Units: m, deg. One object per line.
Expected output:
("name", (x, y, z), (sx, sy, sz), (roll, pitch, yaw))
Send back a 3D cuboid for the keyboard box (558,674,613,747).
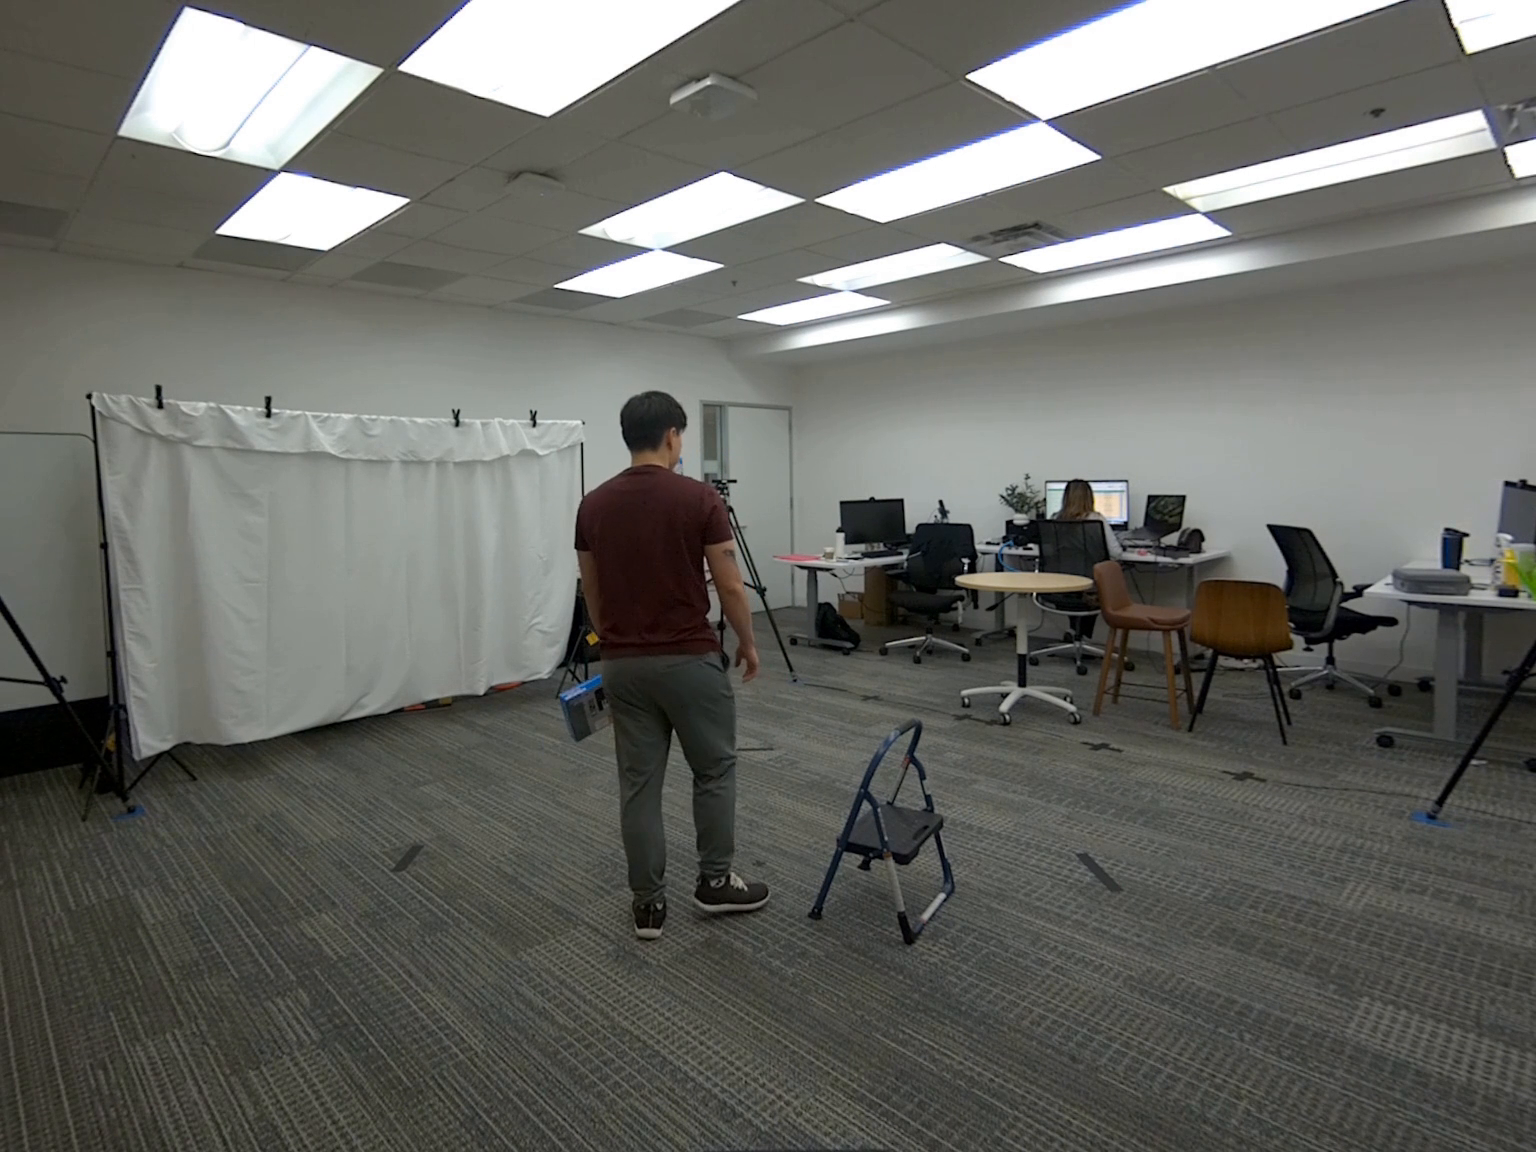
("keyboard box", (-0.505, 0.403, 2.981), (0.431, 0.172, 0.061), (-26, 28, -31))
